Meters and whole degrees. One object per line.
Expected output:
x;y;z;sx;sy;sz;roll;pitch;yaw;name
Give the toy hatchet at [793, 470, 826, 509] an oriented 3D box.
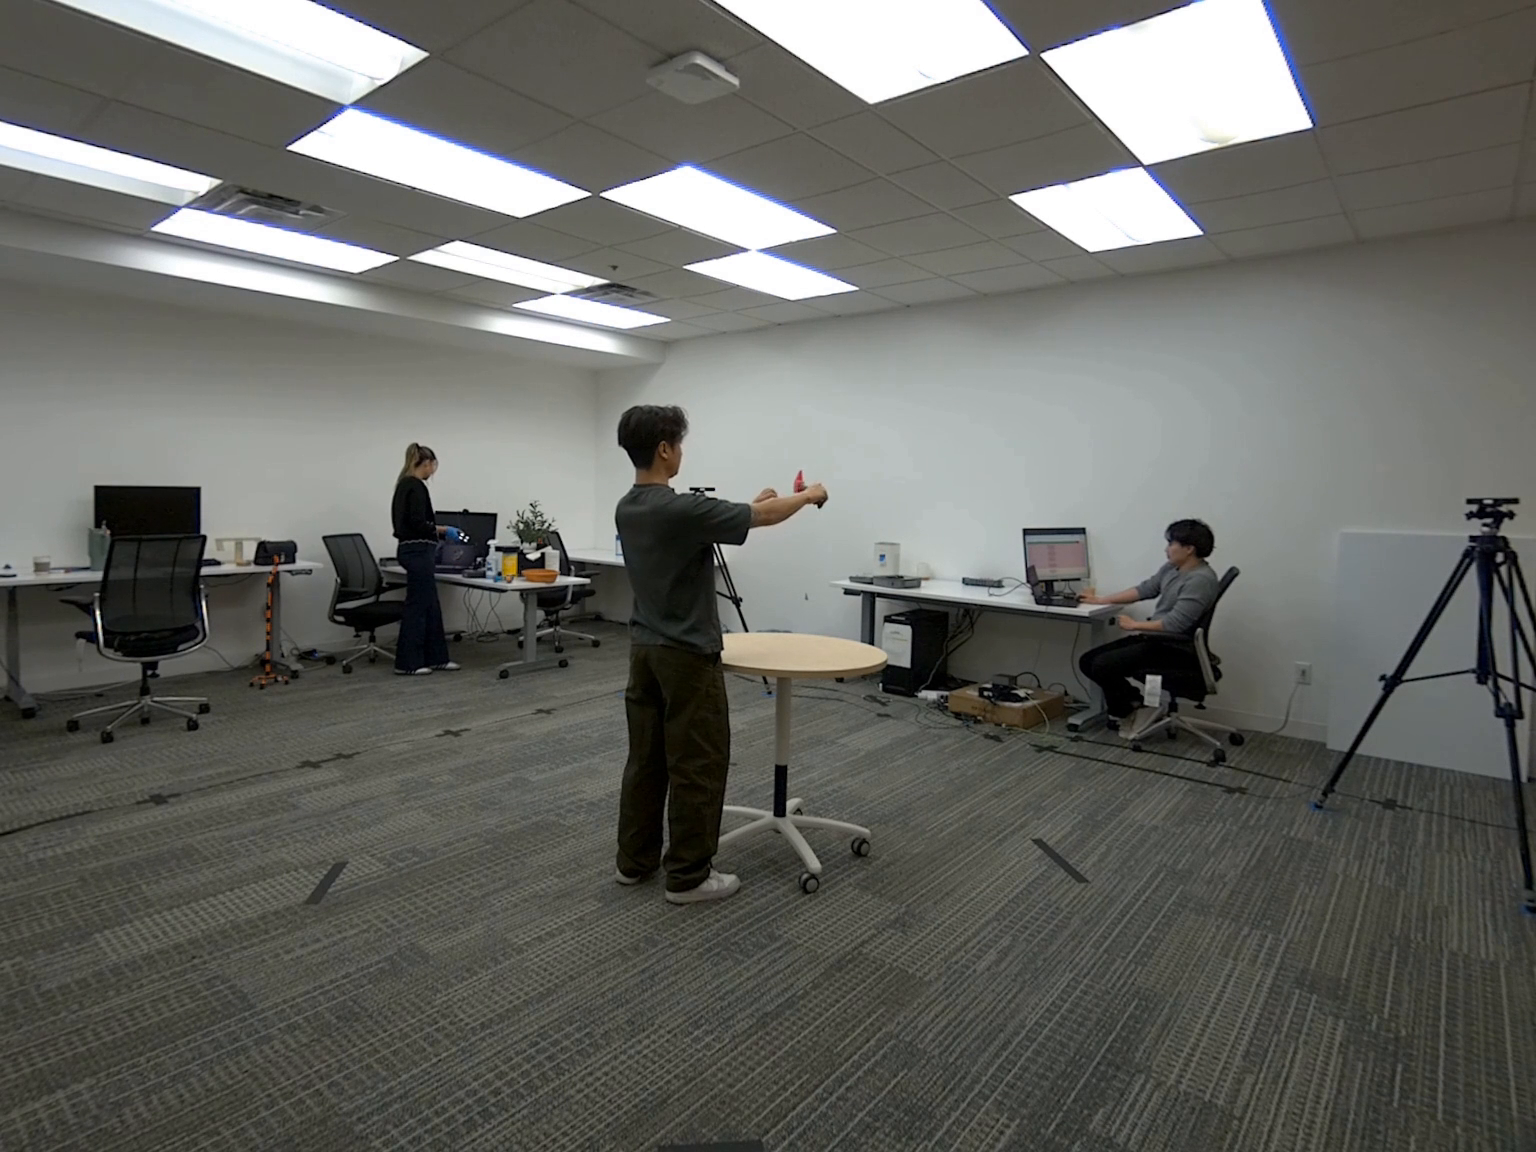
0.140;-0.292;3.177;0.029;0.129;0.280;8;25;-21;toy hatchet
